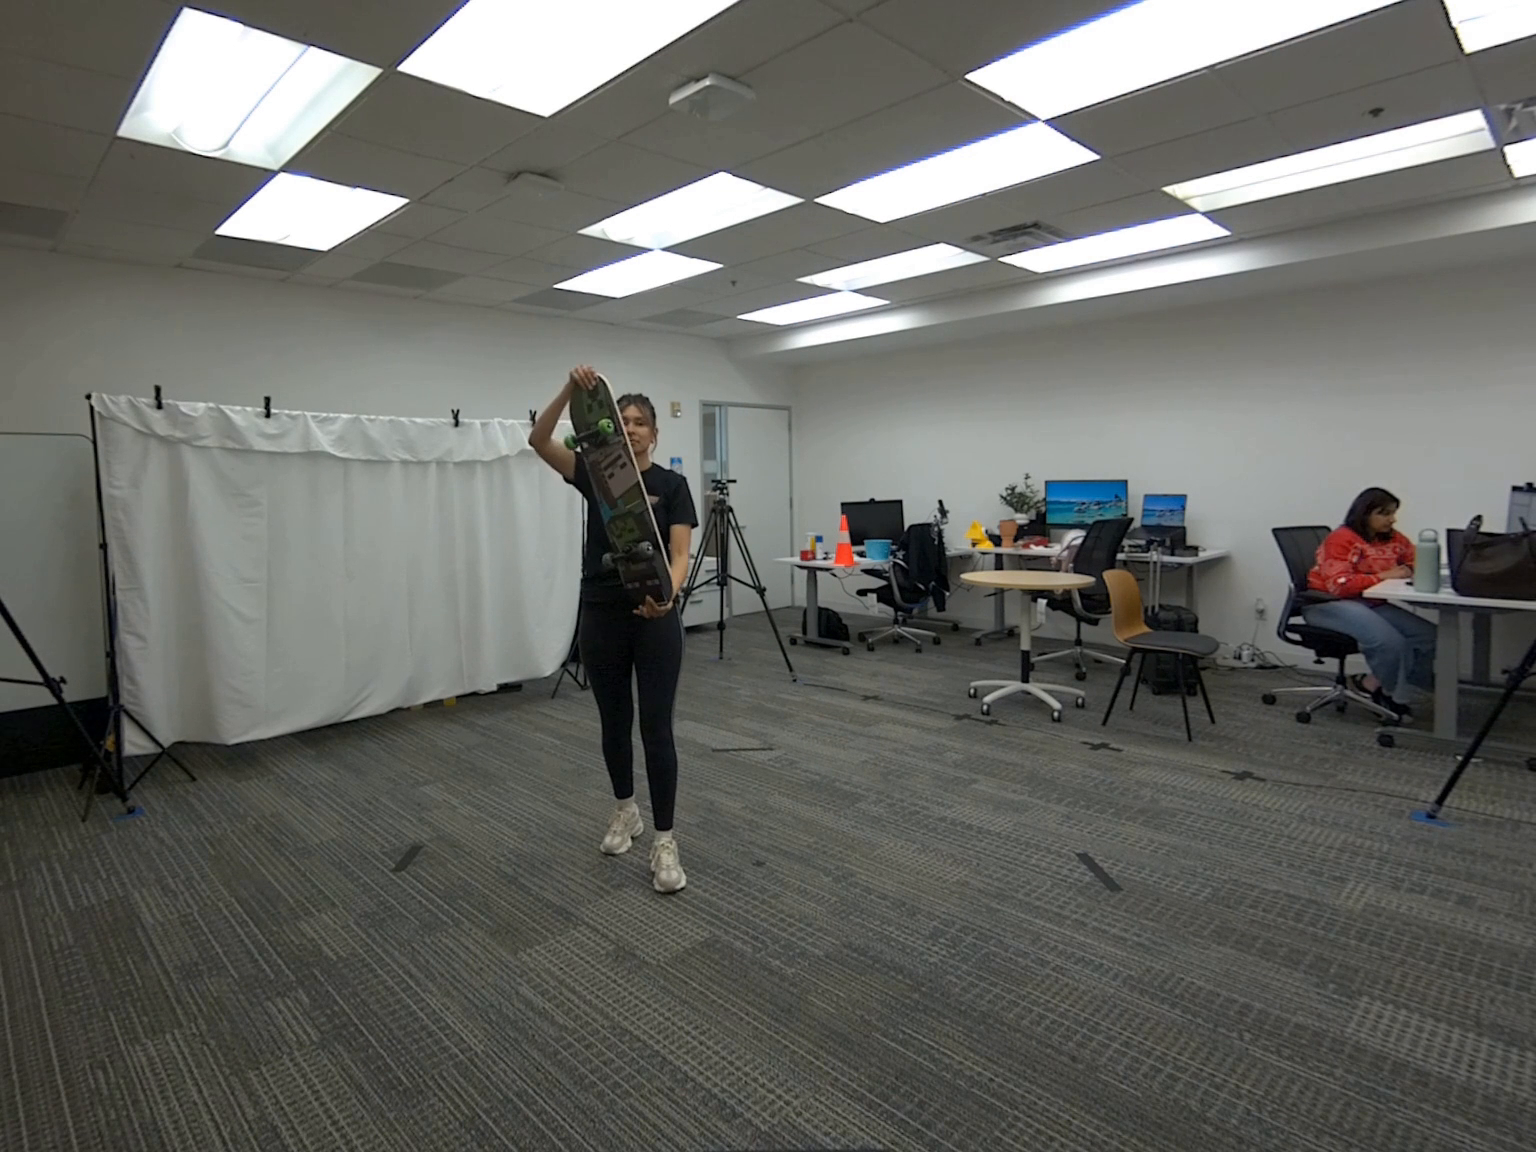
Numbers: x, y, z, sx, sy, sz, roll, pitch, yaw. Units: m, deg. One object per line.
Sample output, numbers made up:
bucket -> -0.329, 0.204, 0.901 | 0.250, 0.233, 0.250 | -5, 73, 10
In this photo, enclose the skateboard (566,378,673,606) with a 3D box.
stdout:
skateboard -> -0.489, -0.260, 2.702 | 0.197, 0.785, 0.108 | -15, 1, 32
